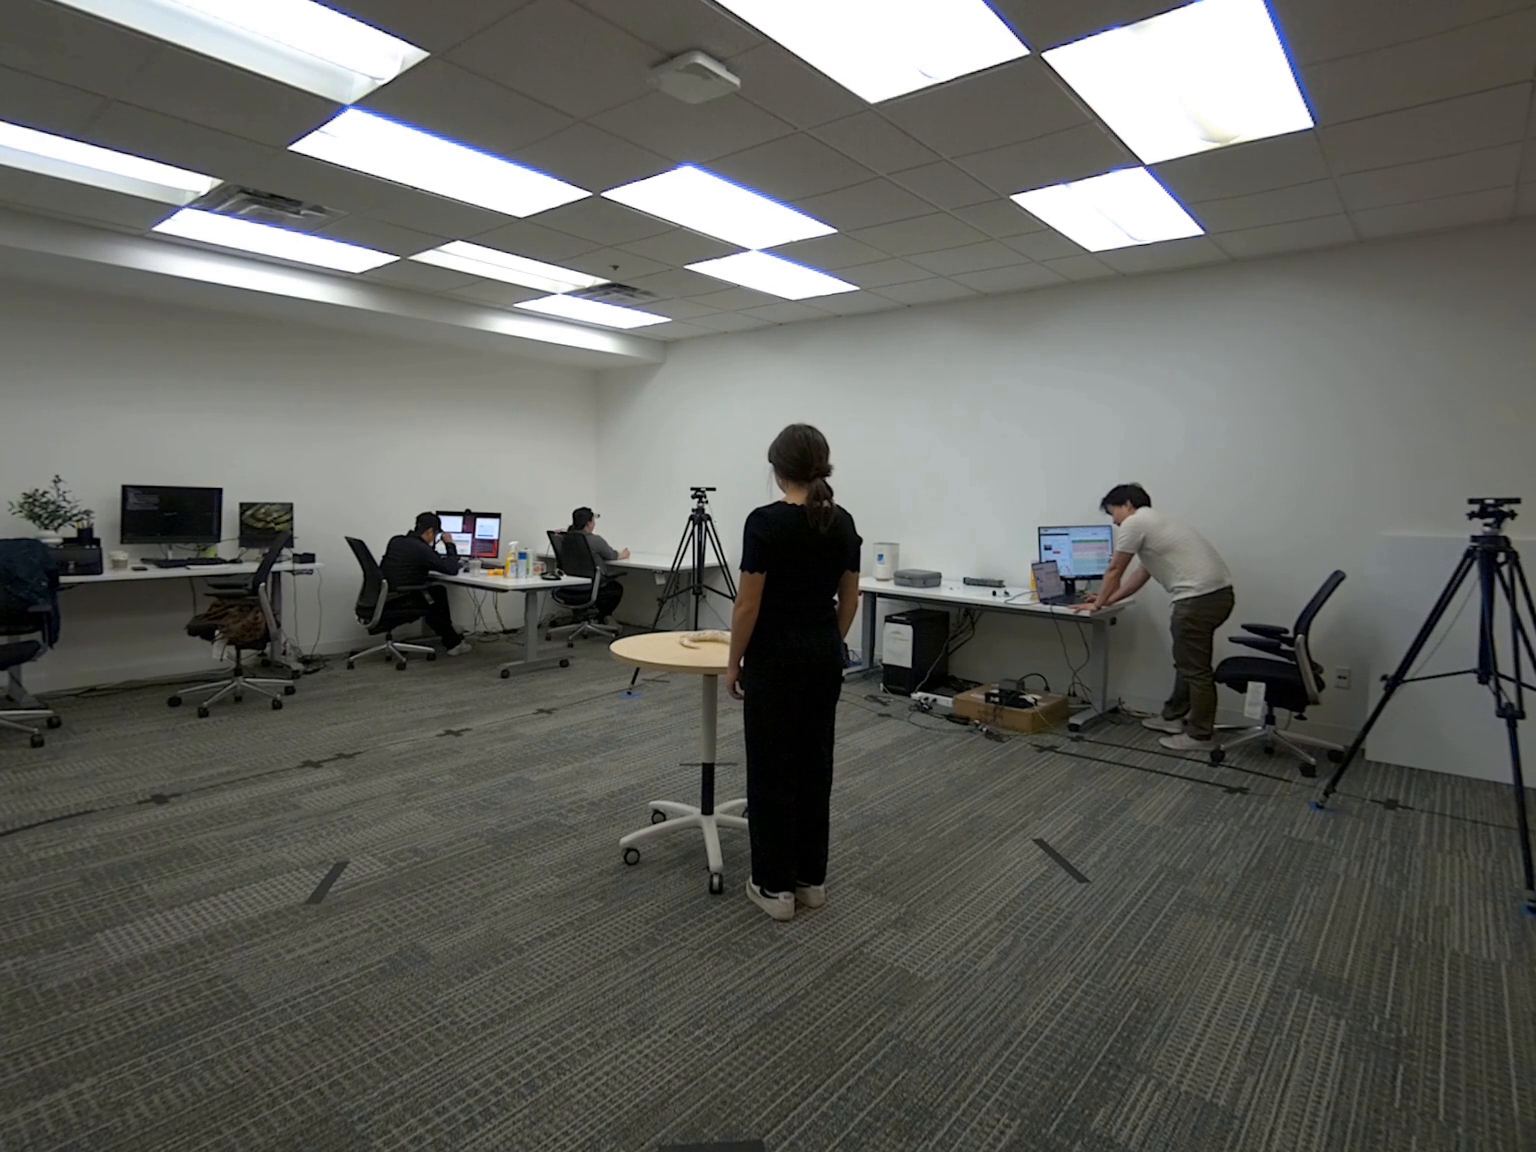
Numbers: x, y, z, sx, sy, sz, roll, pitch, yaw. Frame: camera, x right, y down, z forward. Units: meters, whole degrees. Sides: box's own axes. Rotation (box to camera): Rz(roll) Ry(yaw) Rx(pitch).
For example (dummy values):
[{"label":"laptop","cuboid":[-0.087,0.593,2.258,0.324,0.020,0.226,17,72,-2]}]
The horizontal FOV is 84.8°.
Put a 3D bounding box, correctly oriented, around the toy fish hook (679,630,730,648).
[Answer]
[{"label":"toy fish hook","cuboid":[-0.161,0.262,3.202,0.219,0.048,0.523,-12,11,-36]}]
